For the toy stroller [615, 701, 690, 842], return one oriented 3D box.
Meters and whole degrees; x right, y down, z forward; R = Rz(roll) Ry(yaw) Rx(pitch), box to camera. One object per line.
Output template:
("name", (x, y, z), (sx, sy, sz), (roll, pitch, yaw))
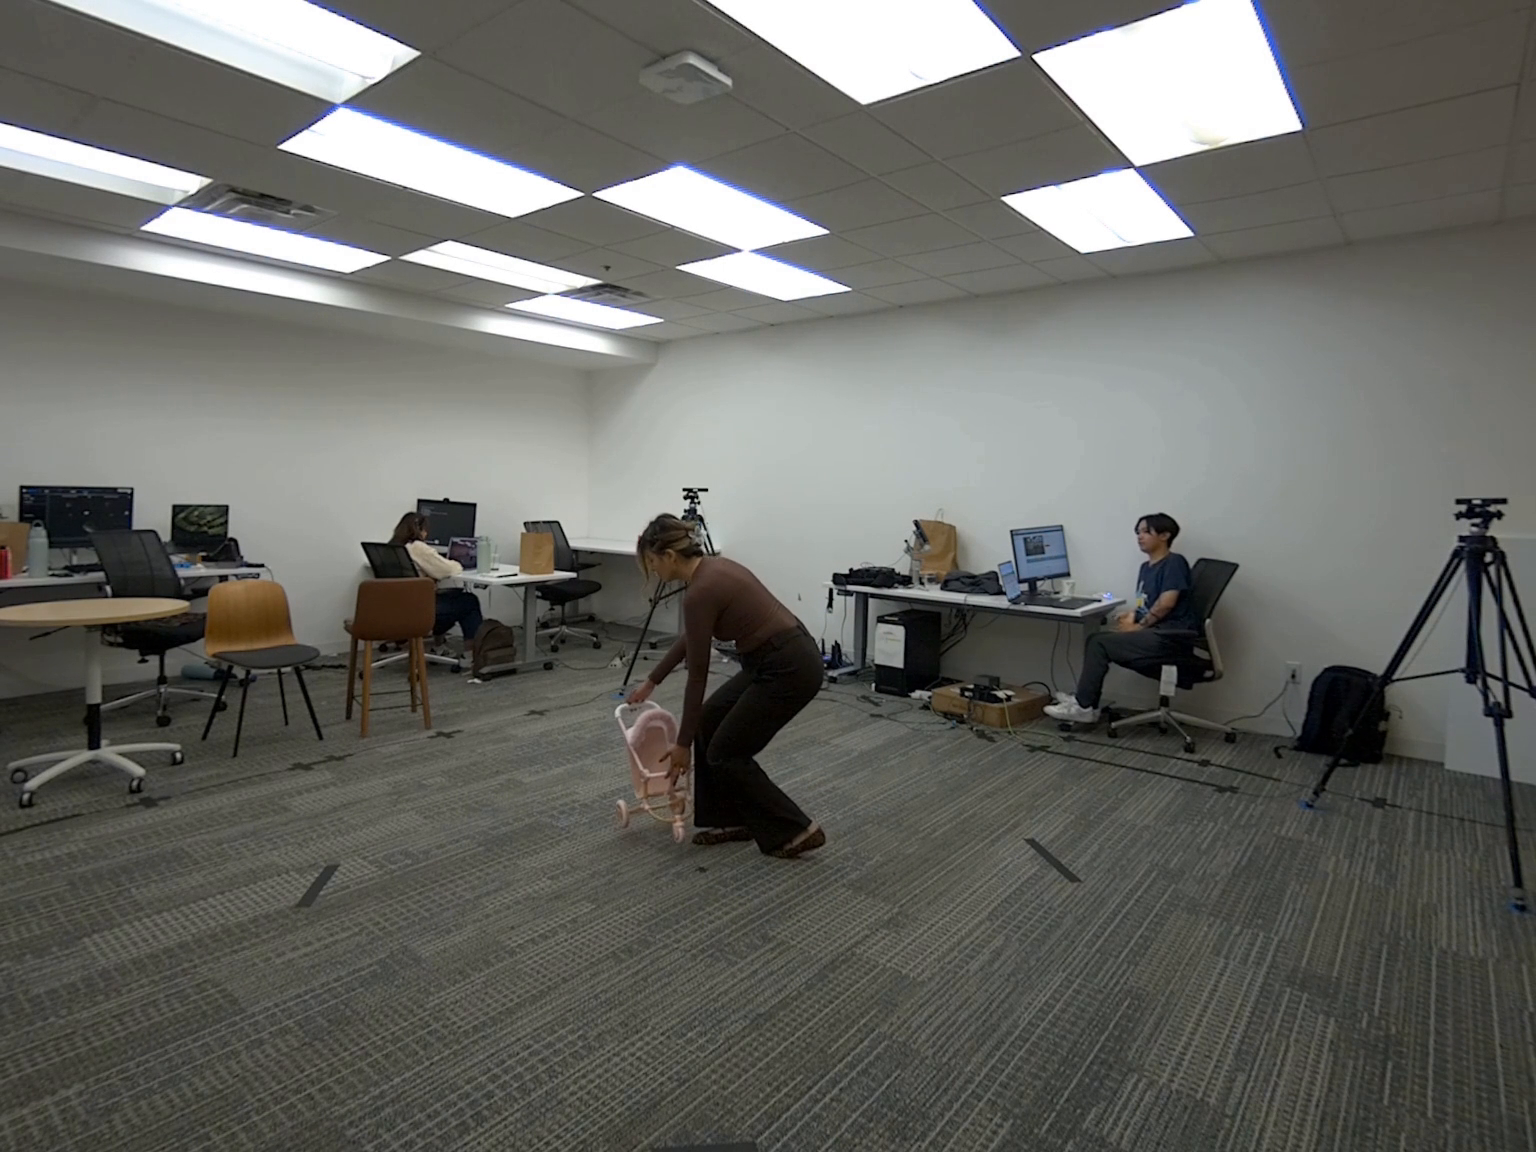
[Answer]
("toy stroller", (-0.454, 0.756, 3.383), (0.274, 0.541, 0.346), (-2, -11, -28))
